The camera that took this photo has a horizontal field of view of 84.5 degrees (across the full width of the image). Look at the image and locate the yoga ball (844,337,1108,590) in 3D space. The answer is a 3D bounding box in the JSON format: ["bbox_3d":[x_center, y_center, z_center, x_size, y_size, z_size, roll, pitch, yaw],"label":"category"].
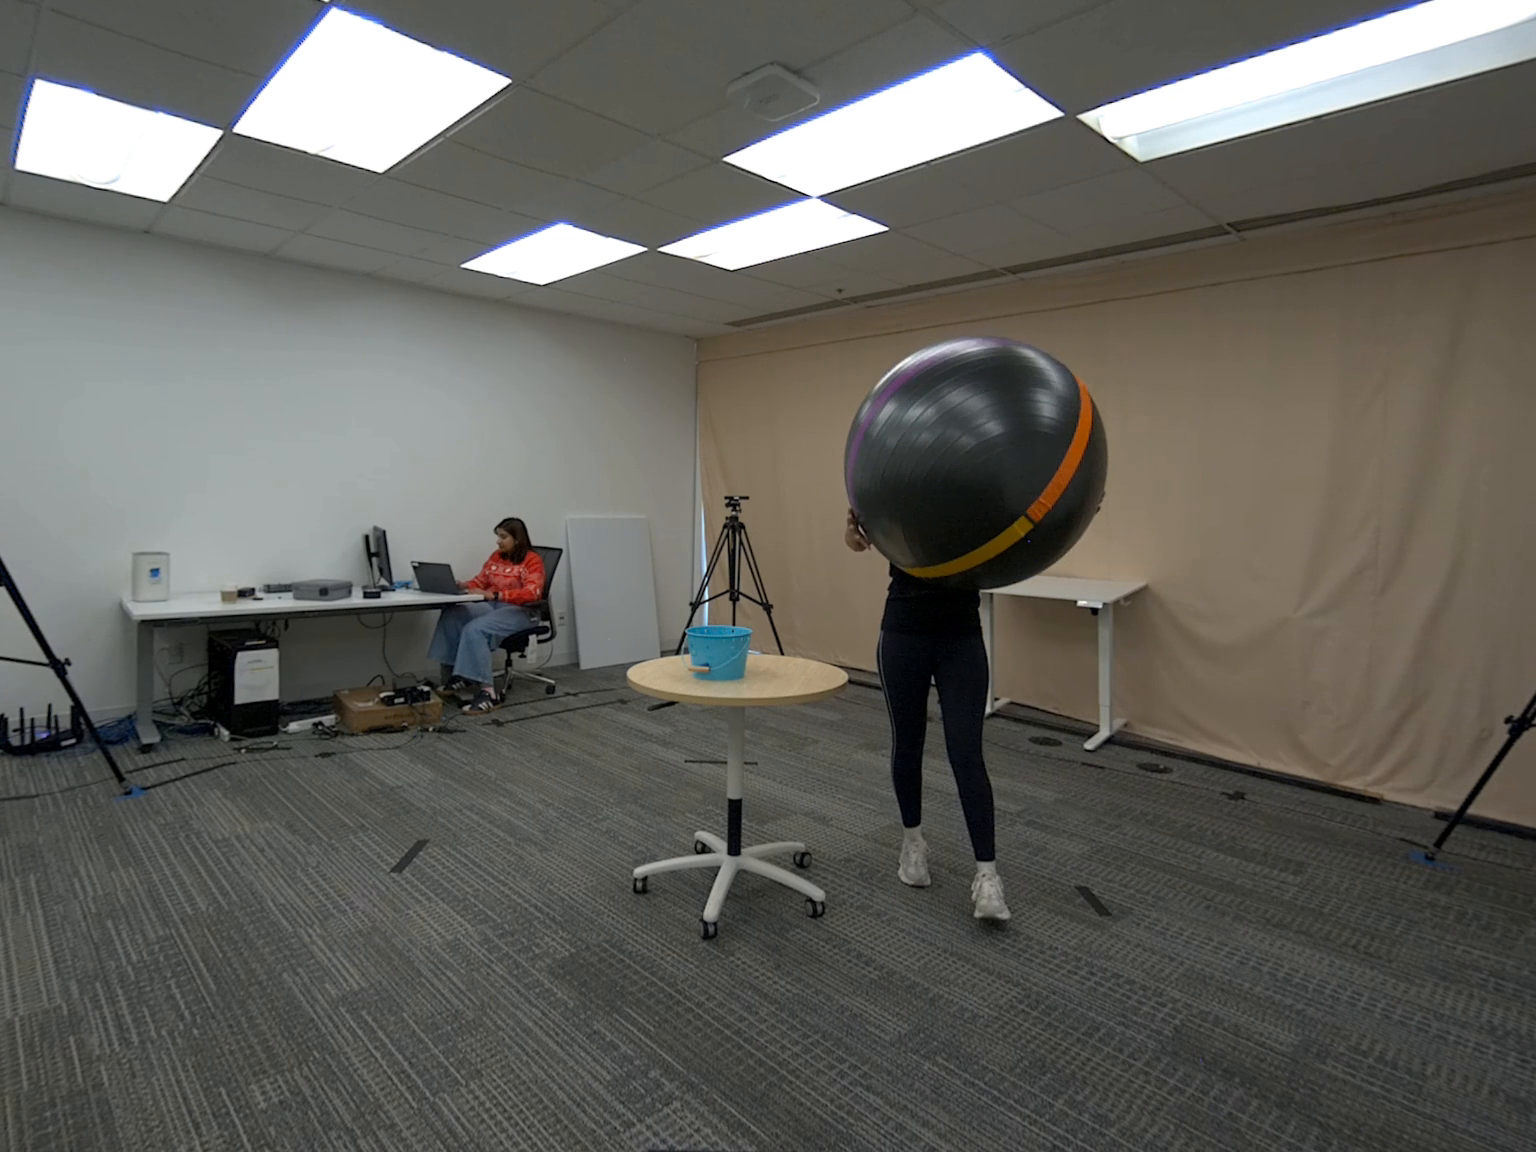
[{"bbox_3d":[0.611,-0.315,2.522,0.757,0.756,0.761,1,4,-1],"label":"yoga ball"}]
